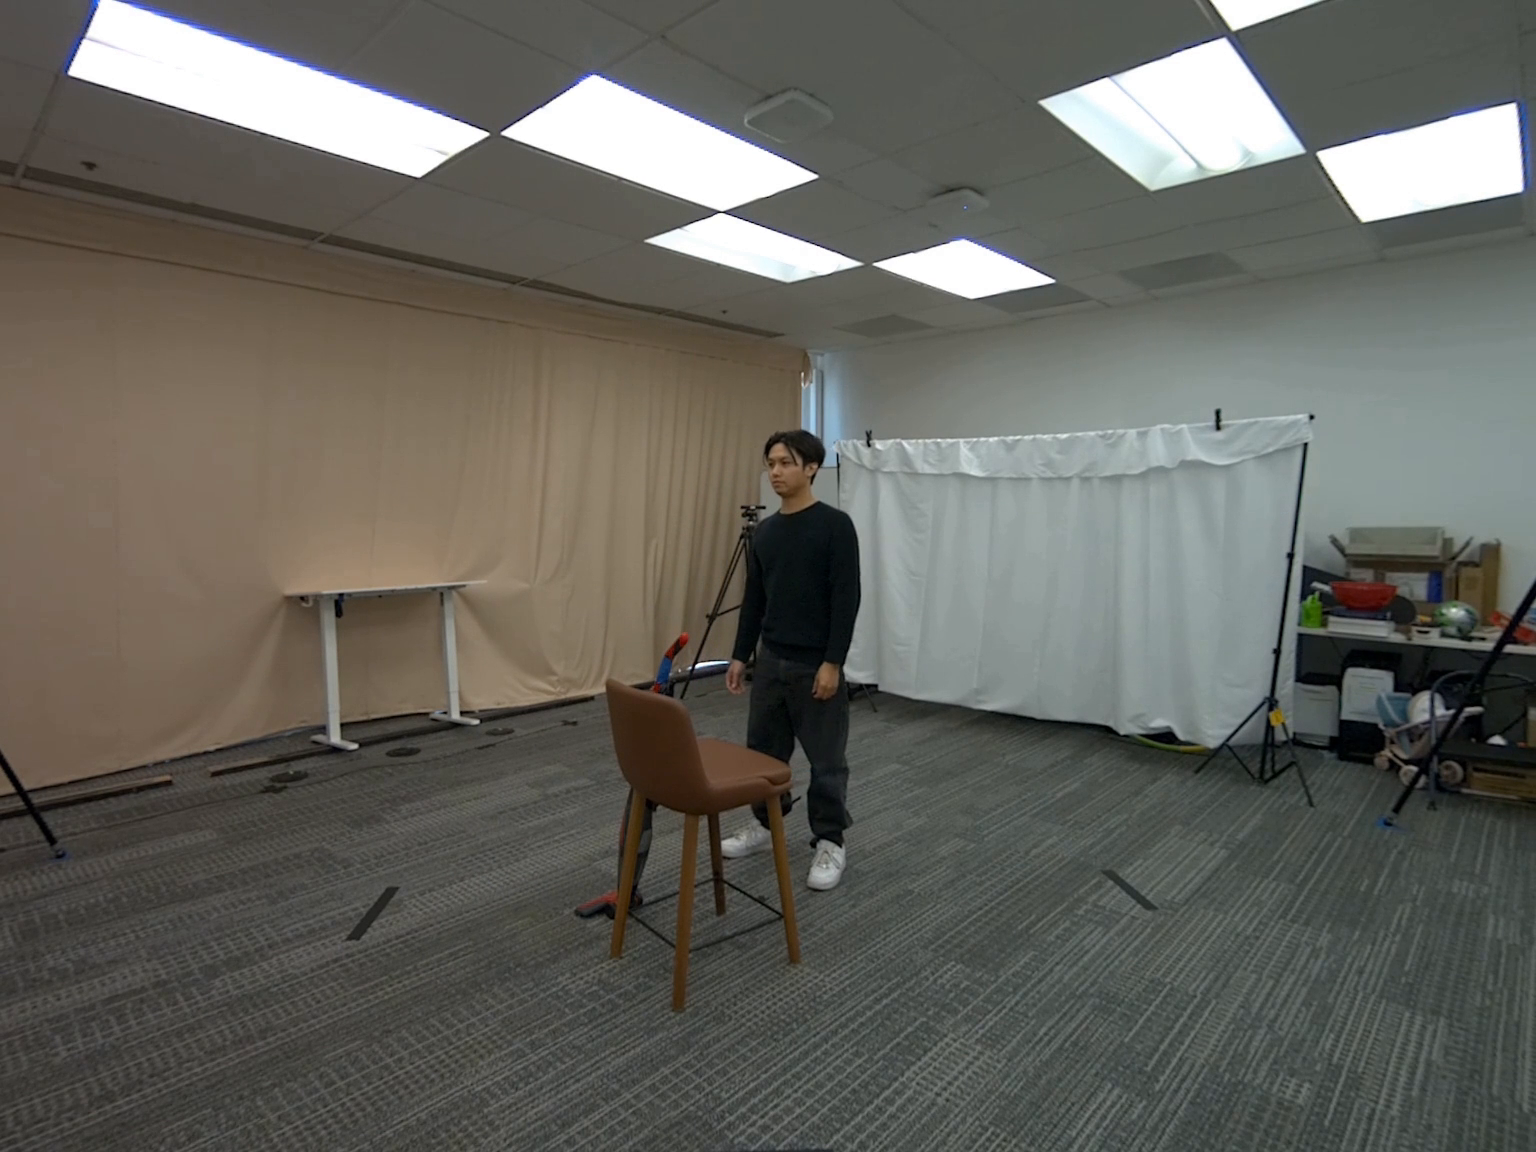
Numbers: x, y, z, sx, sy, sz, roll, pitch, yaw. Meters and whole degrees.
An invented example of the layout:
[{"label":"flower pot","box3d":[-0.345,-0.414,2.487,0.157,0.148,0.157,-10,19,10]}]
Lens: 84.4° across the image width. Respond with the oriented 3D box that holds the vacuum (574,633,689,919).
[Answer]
[{"label":"vacuum","box3d":[-0.406,0.671,2.777,0.149,1.044,0.245,27,20,36]}]
